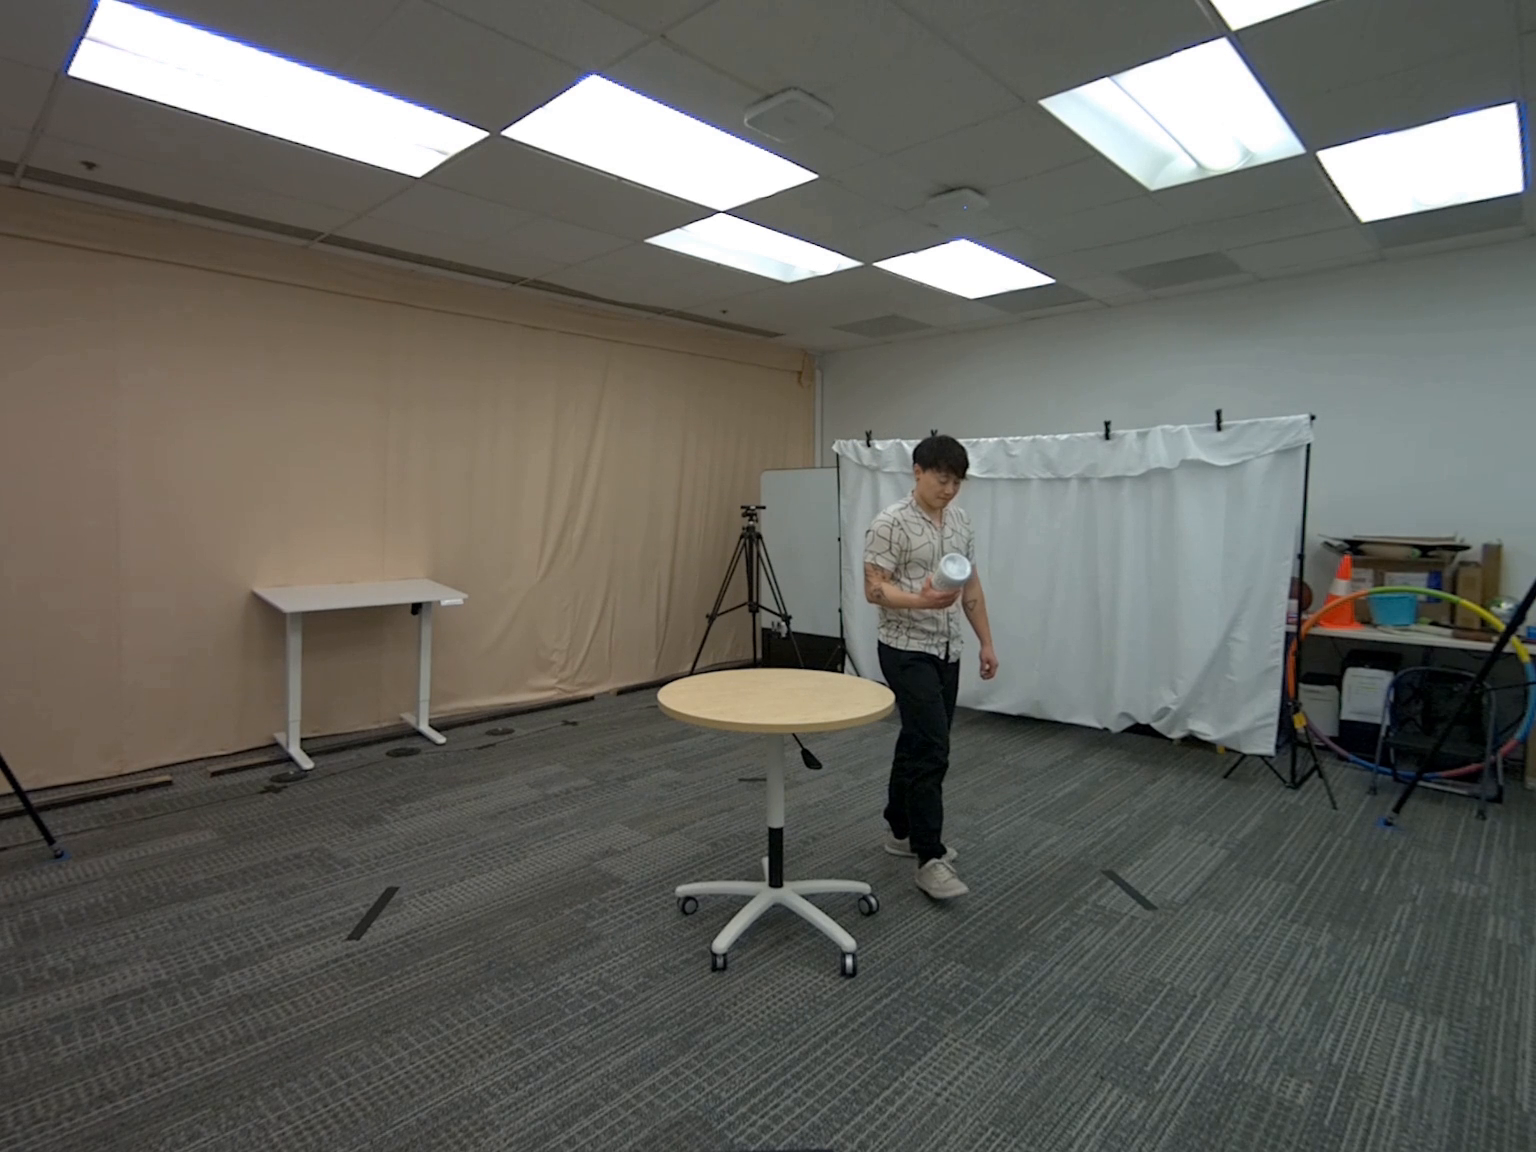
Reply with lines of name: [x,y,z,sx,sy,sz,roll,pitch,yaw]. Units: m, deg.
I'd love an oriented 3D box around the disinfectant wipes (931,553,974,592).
disinfectant wipes: [0.628,0.018,2.944,0.117,0.120,0.215,0,-28,-8]
